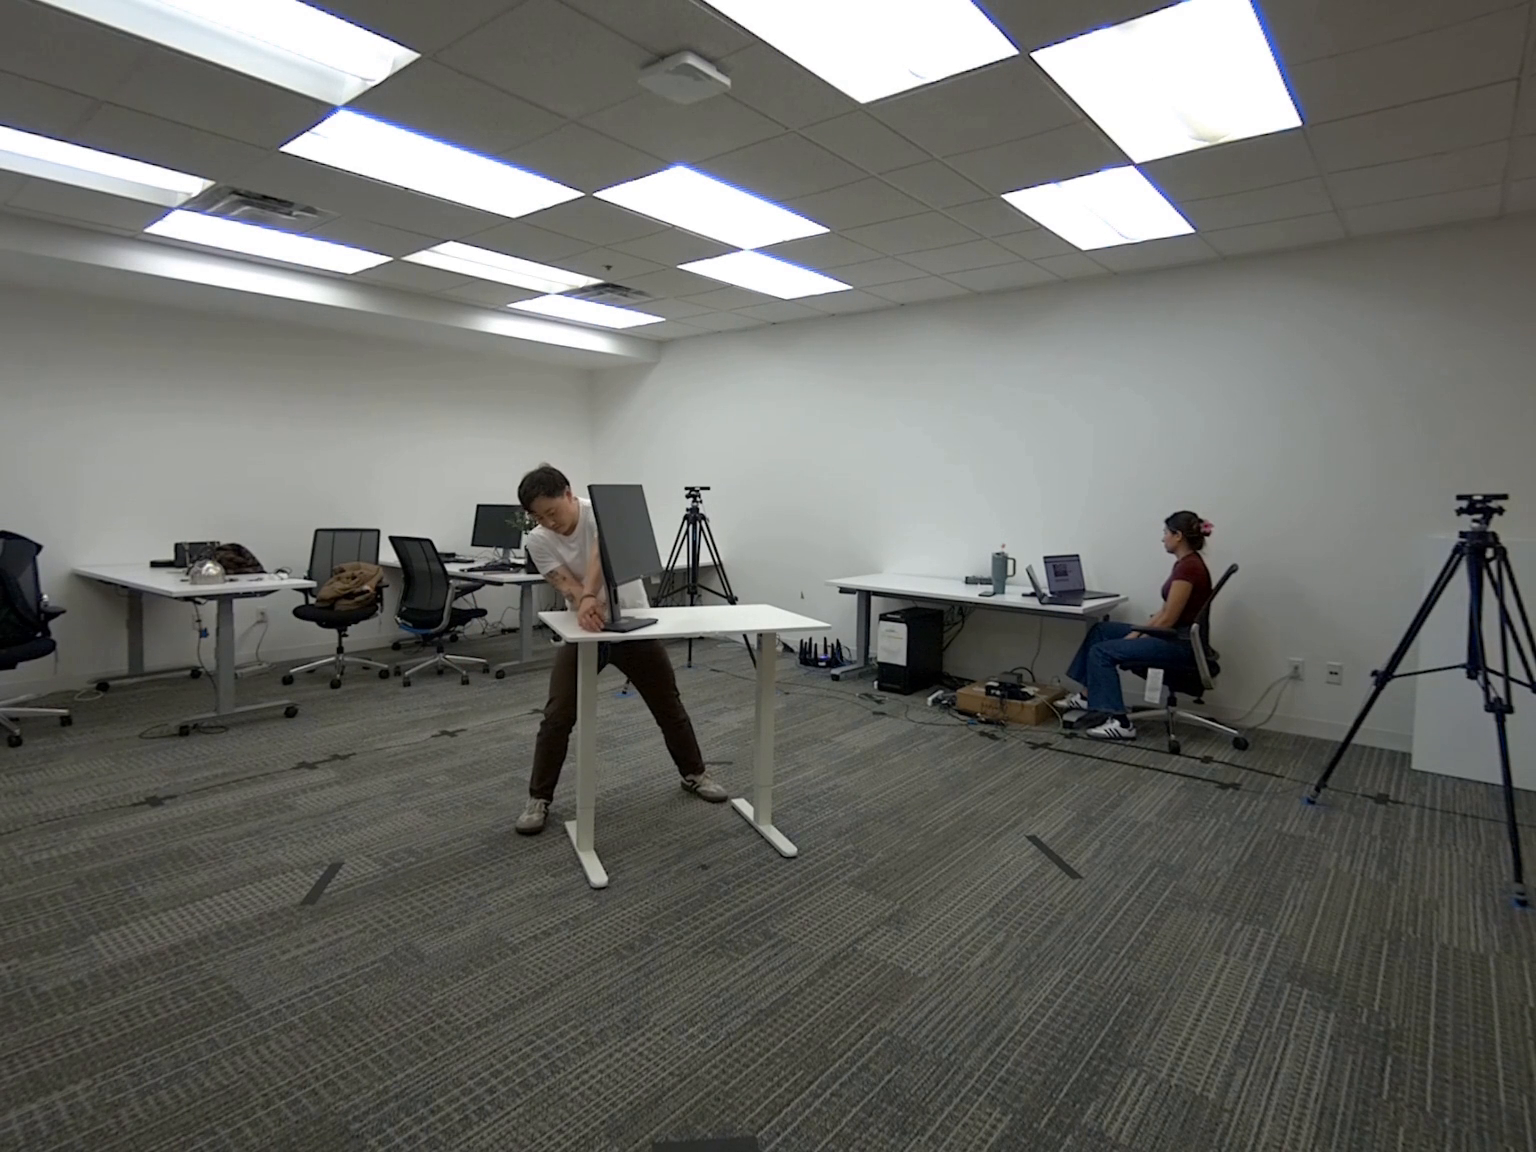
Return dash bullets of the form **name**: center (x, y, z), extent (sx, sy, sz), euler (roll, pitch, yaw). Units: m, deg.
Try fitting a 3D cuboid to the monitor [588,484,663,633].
- **monitor**: center (-0.544, -0.075, 3.092), extent (0.189, 0.521, 0.534), euler (-2, 4, 9)
